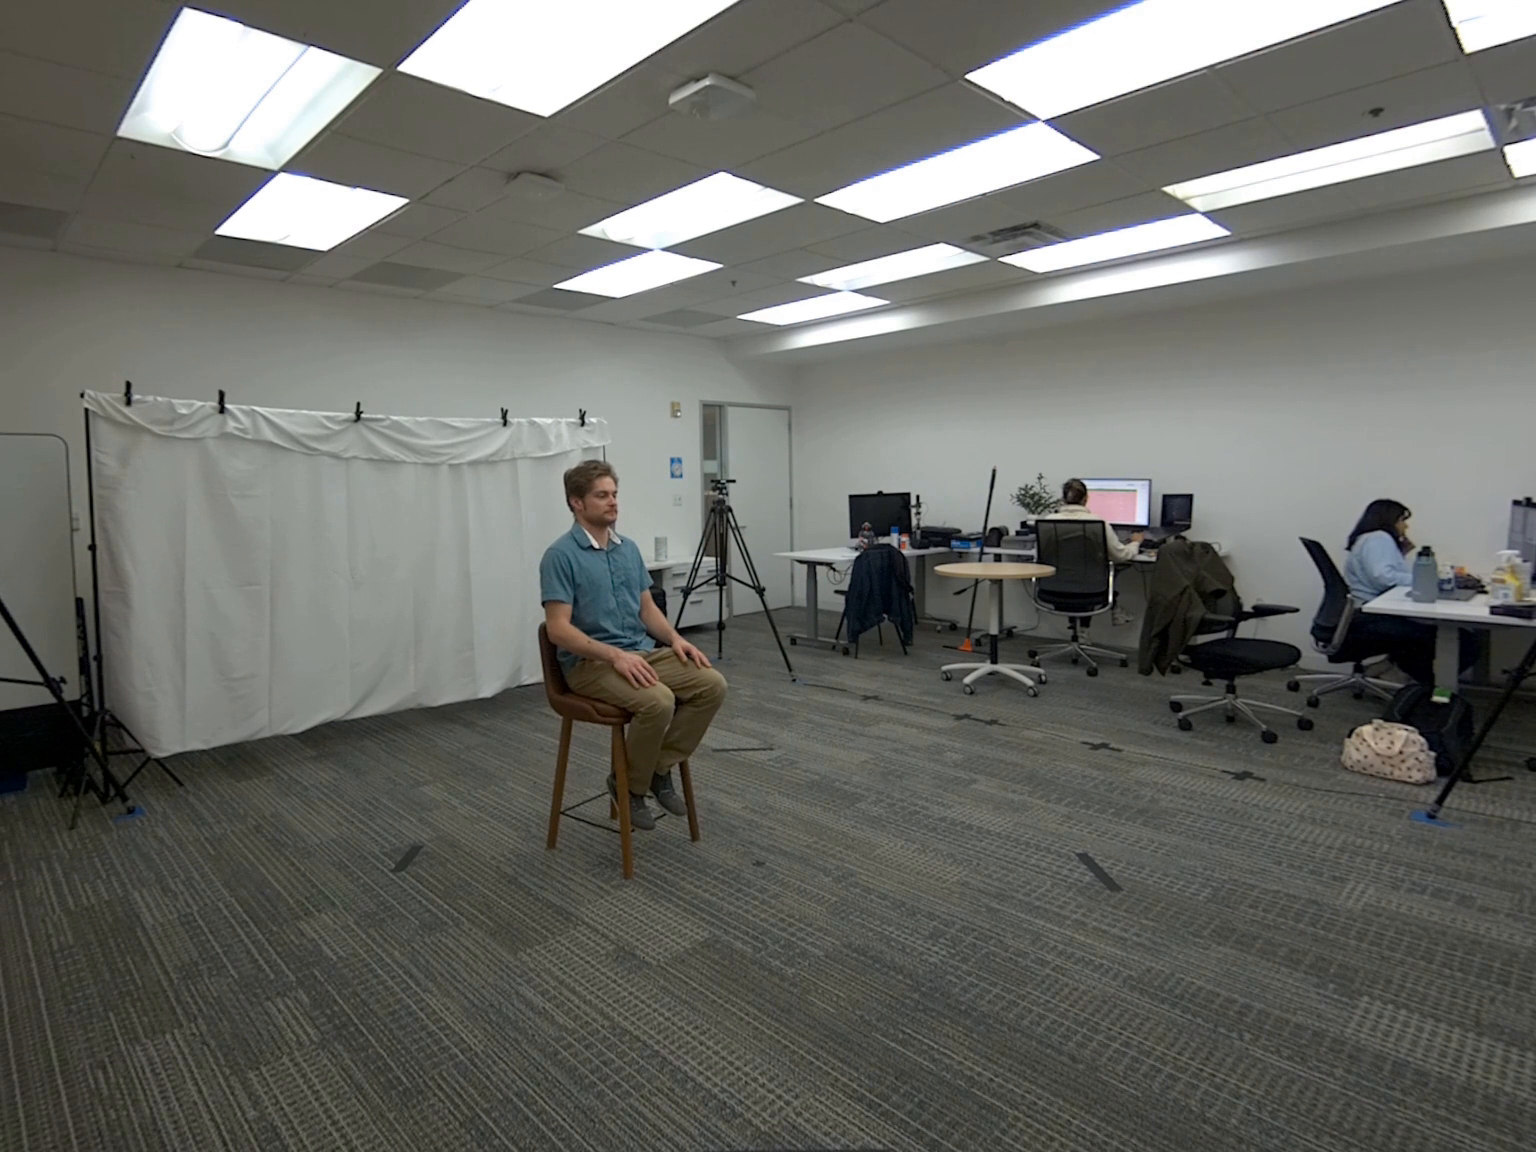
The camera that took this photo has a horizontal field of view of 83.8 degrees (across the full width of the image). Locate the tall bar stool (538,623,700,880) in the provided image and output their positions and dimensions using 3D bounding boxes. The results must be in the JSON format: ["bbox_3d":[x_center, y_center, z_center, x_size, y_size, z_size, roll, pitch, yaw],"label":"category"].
[{"bbox_3d":[-0.579,0.600,3.283,0.480,0.888,0.445,-1,2,36],"label":"tall bar stool"}]
